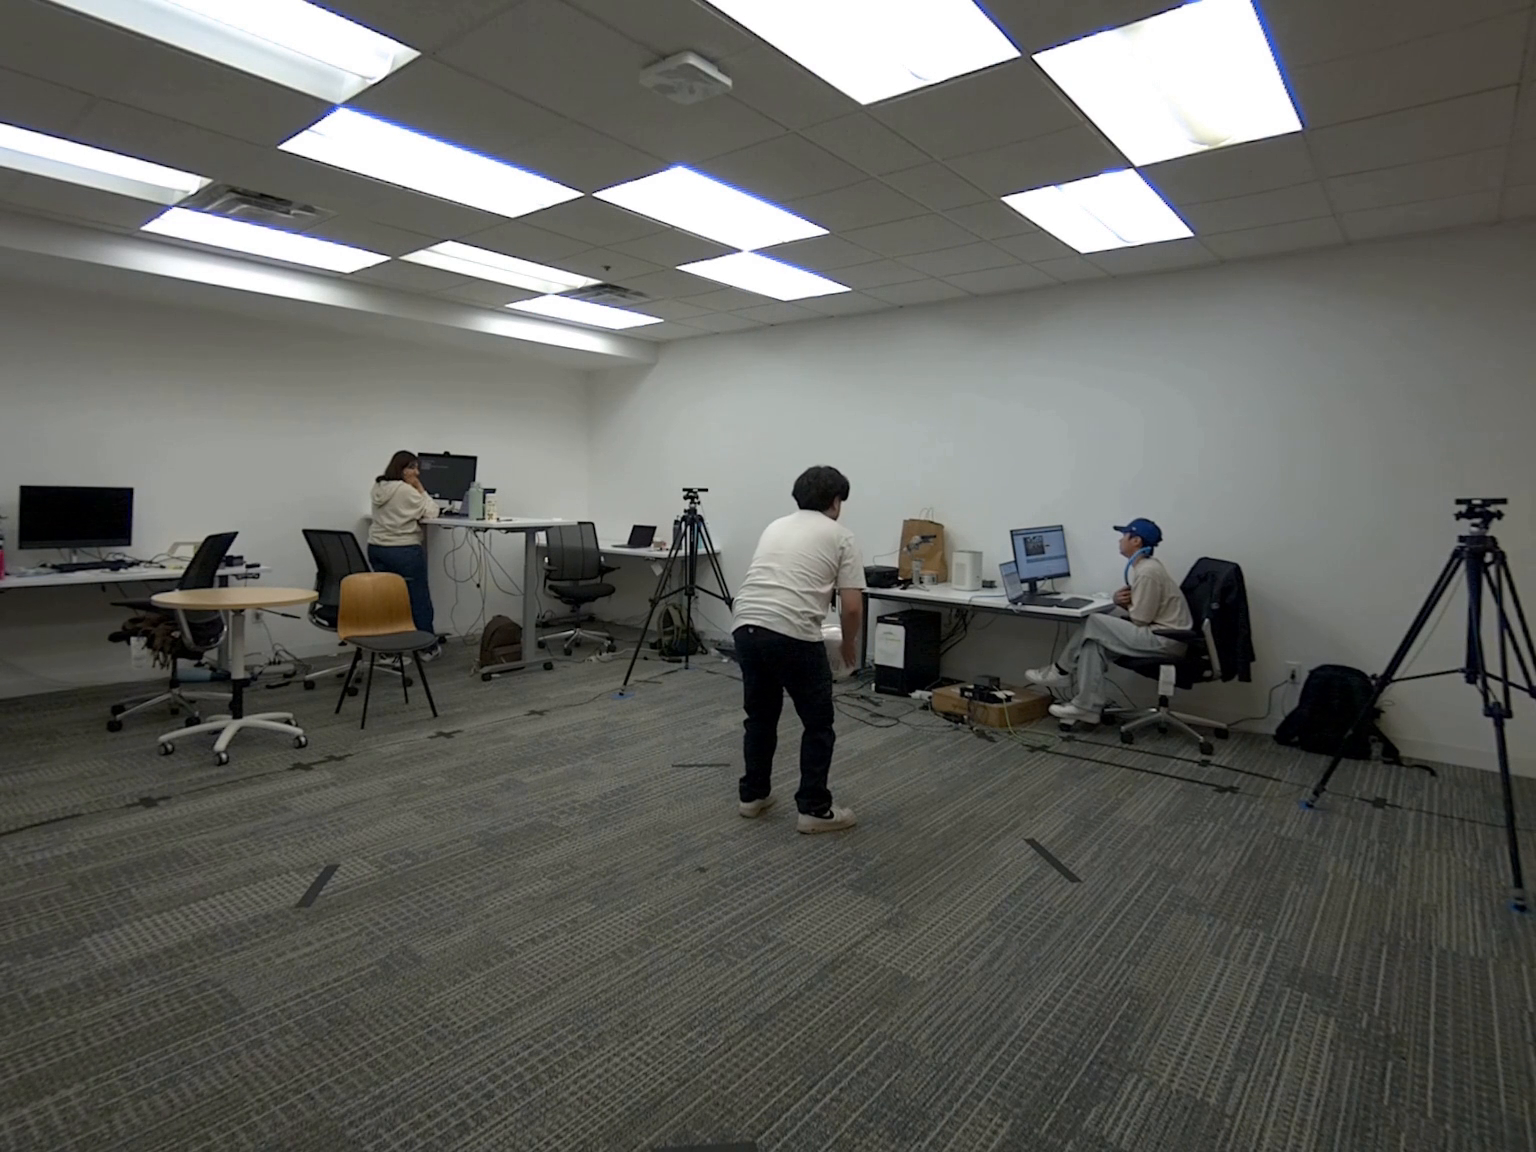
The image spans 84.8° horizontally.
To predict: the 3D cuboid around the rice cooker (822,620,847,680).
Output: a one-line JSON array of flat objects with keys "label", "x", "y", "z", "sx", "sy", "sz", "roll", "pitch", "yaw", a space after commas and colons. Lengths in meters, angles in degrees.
[{"label": "rice cooker", "x": 0.286, "y": 0.329, "z": 3.831, "sx": 0.220, "sy": 0.231, "sz": 0.219, "roll": -3, "pitch": 8, "yaw": -1}]
